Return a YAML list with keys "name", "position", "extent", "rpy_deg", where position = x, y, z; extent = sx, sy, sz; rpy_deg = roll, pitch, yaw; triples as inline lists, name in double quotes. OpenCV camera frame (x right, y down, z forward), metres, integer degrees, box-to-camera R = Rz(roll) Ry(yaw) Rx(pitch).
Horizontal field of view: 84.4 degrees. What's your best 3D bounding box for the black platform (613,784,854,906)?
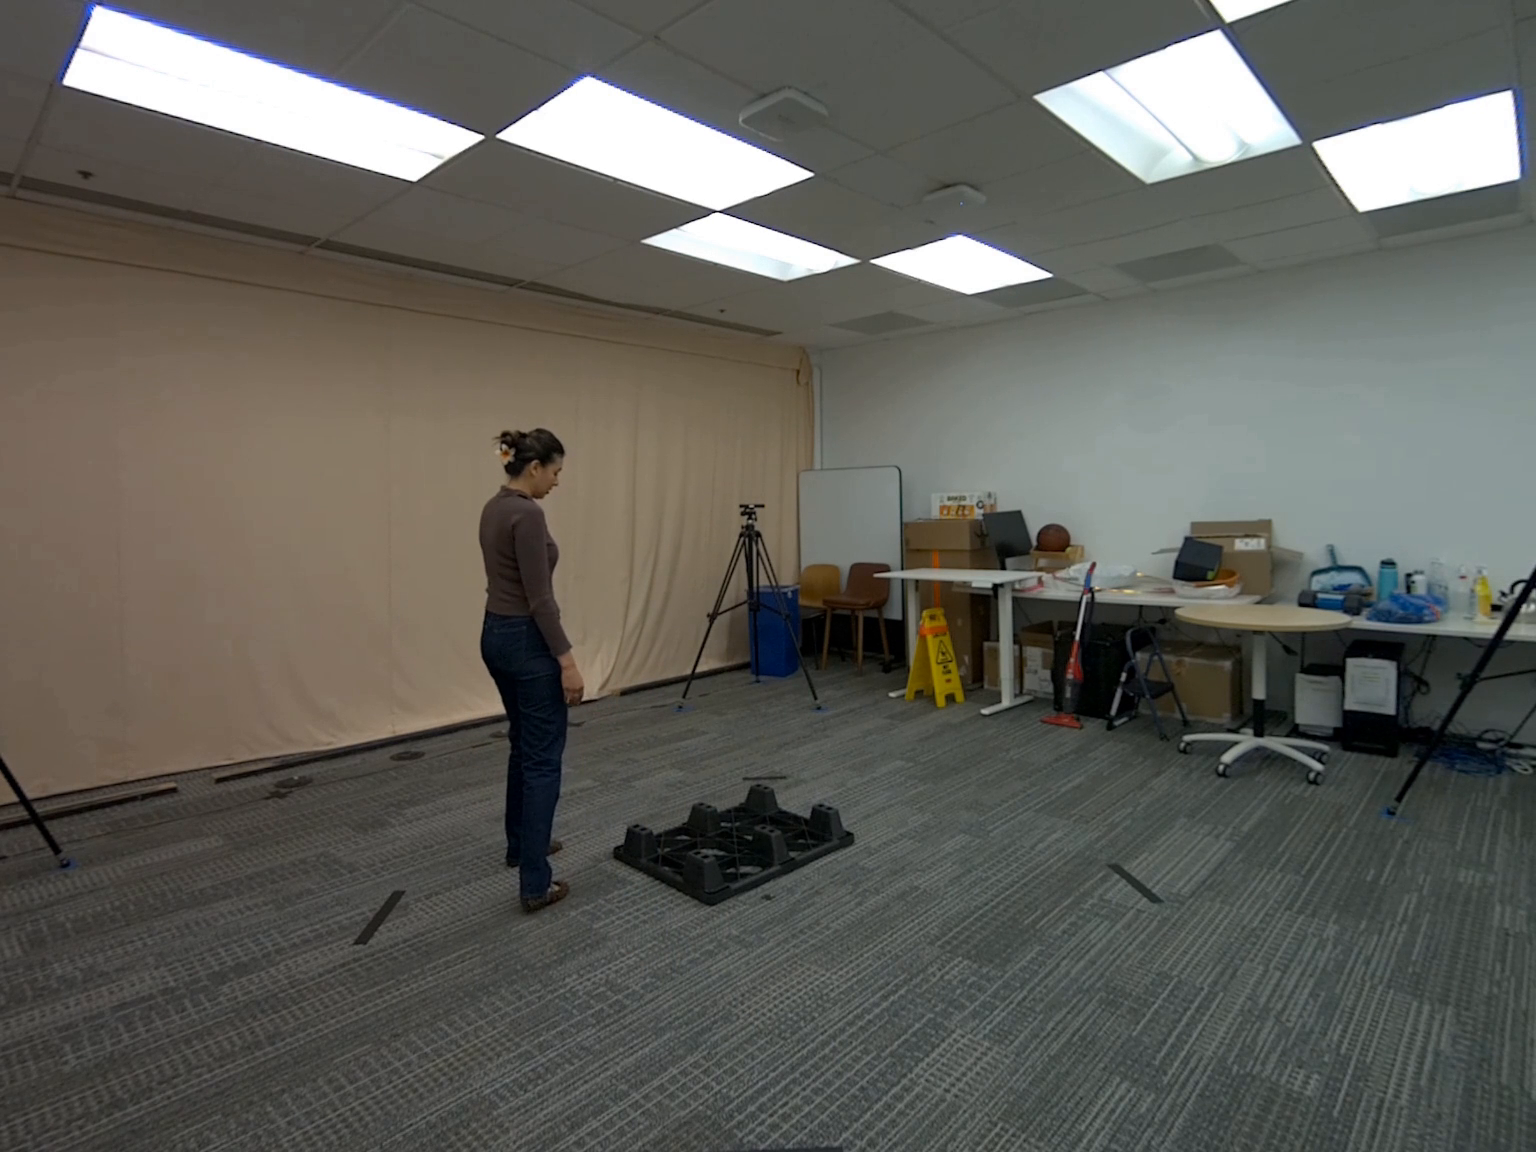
- name: "black platform"
  position: [-0.131, 1.040, 3.392]
  extent: [0.781, 0.143, 0.625]
  rpy_deg: [-6, 6, -44]
